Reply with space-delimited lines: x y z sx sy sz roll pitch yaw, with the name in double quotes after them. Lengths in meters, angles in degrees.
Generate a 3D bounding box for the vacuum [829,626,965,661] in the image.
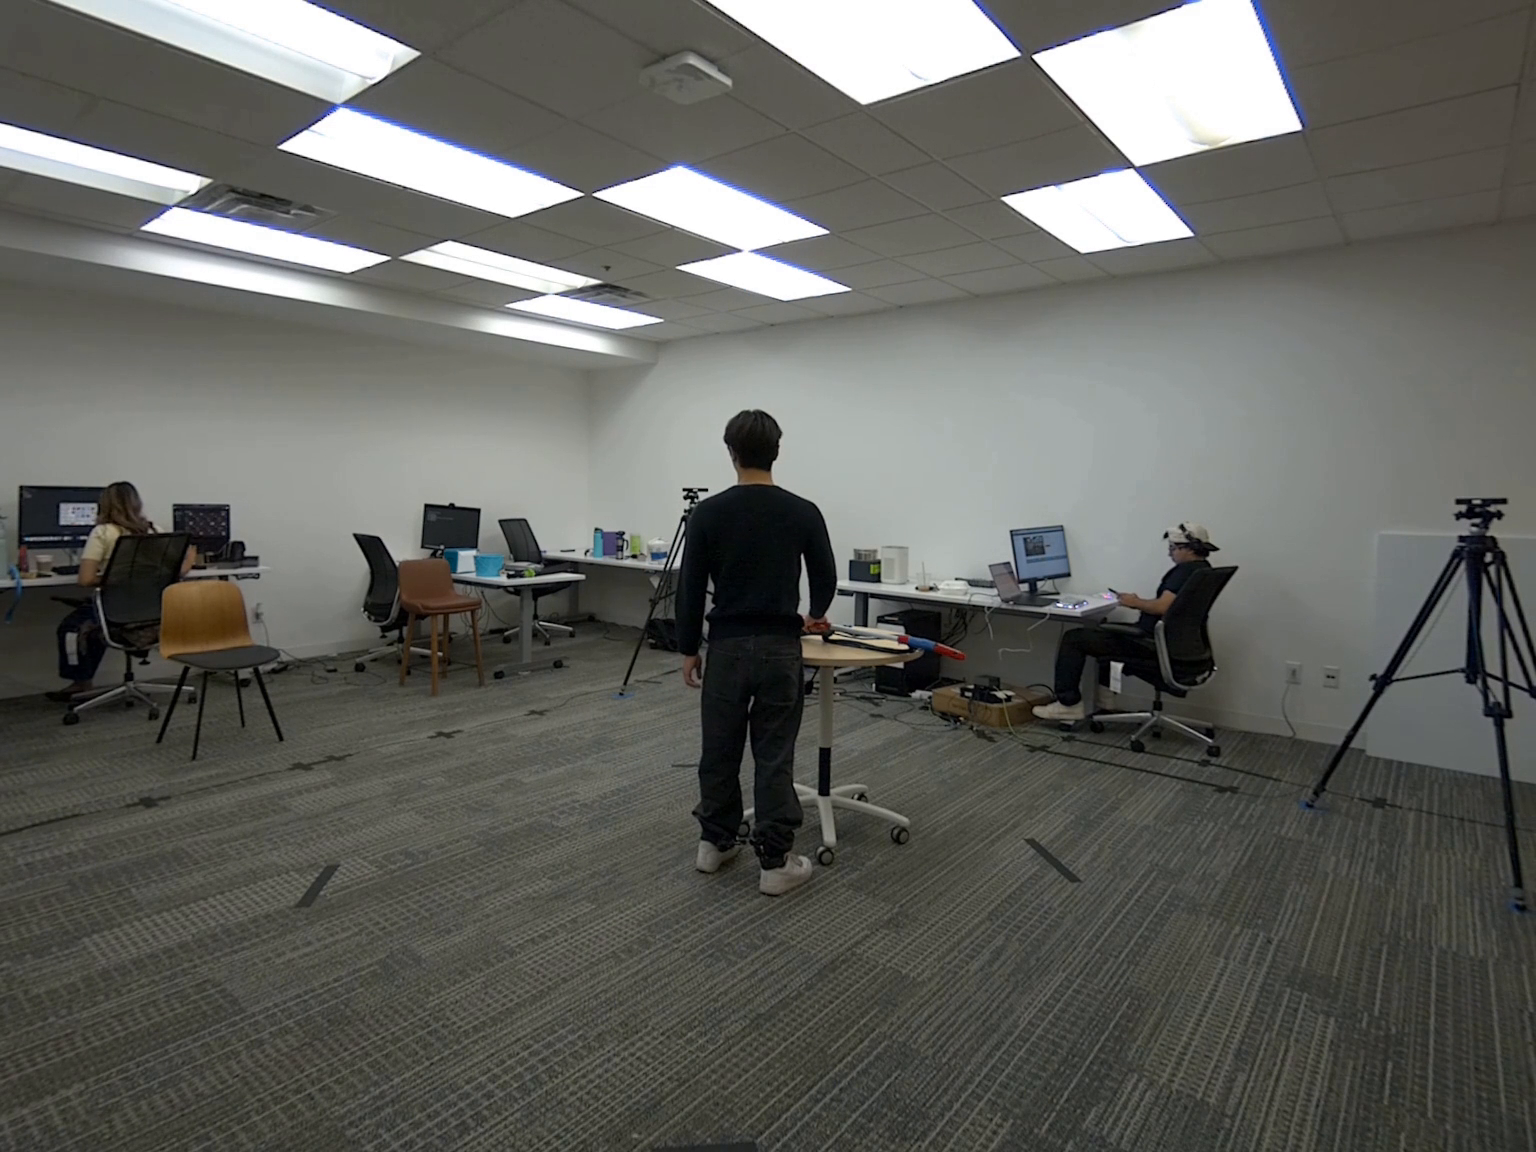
0.263 0.228 3.376 1.085 0.255 0.138 8 -30 36 "vacuum"
